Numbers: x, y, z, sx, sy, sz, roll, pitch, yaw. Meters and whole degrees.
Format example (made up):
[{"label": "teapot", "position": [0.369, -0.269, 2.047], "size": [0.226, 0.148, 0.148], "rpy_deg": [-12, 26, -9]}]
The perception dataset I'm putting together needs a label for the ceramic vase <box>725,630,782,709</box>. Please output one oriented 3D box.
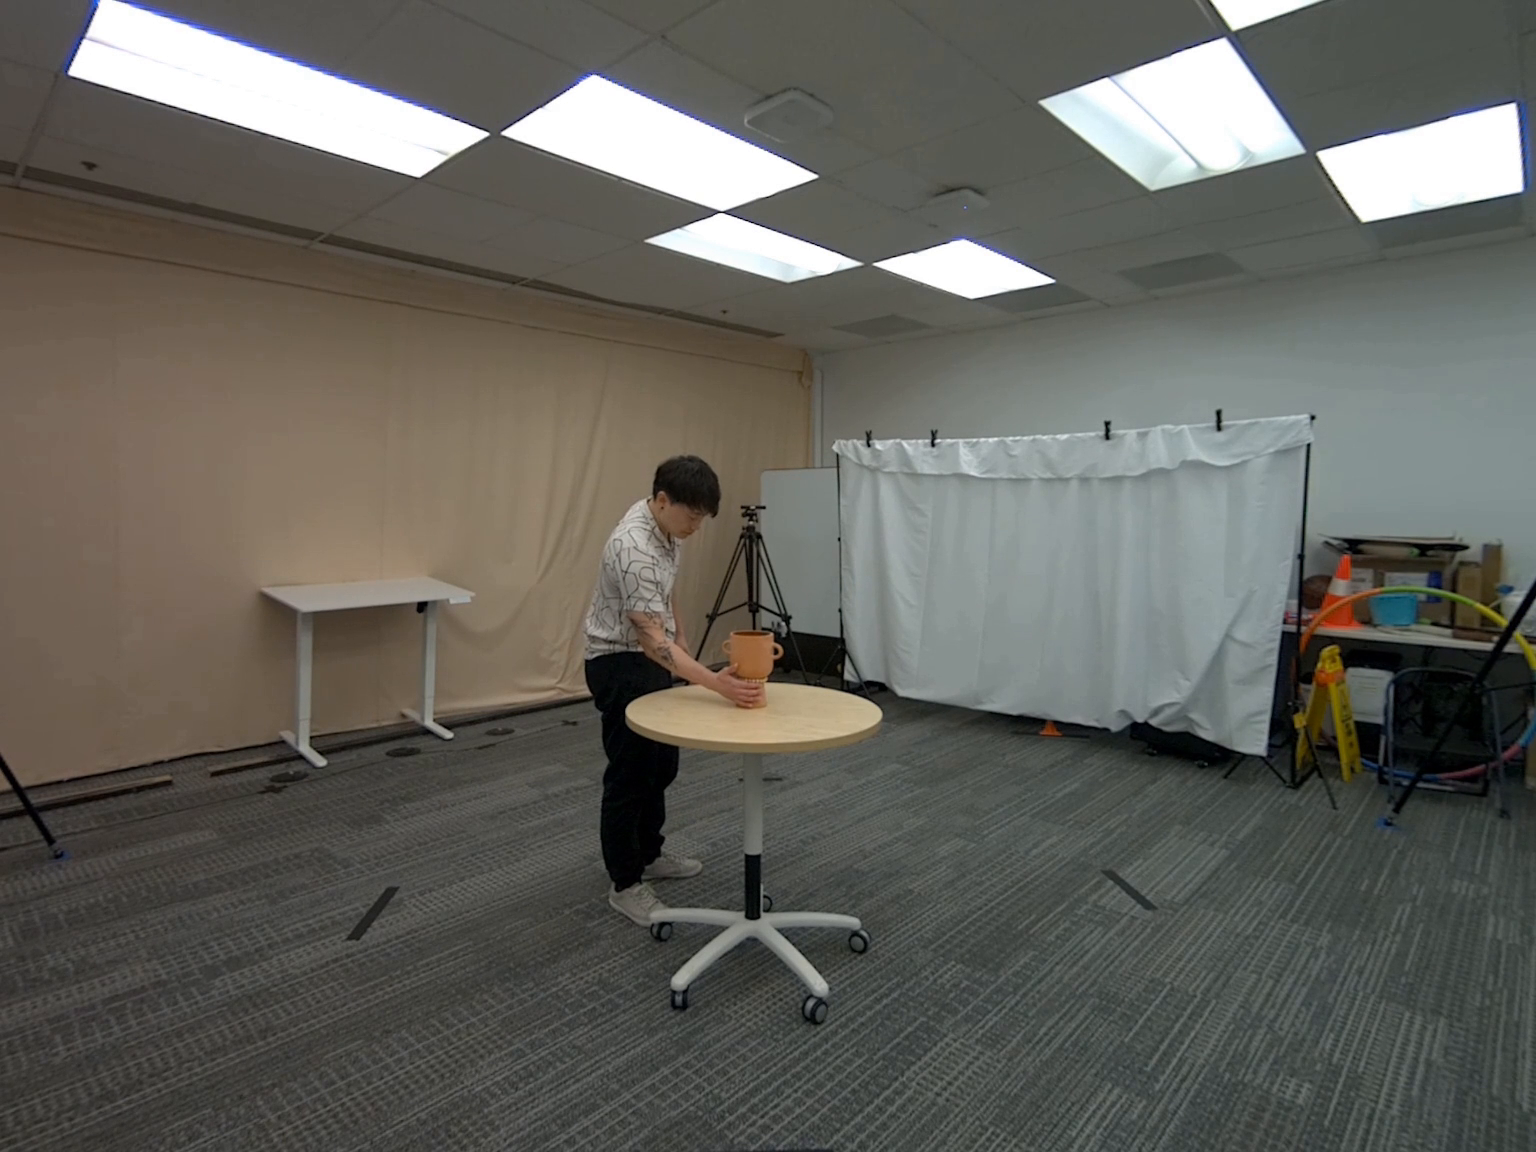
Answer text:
[{"label": "ceramic vase", "position": [-0.045, 0.288, 2.568], "size": [0.131, 0.219, 0.163], "rpy_deg": [-2, 5, -29]}]
